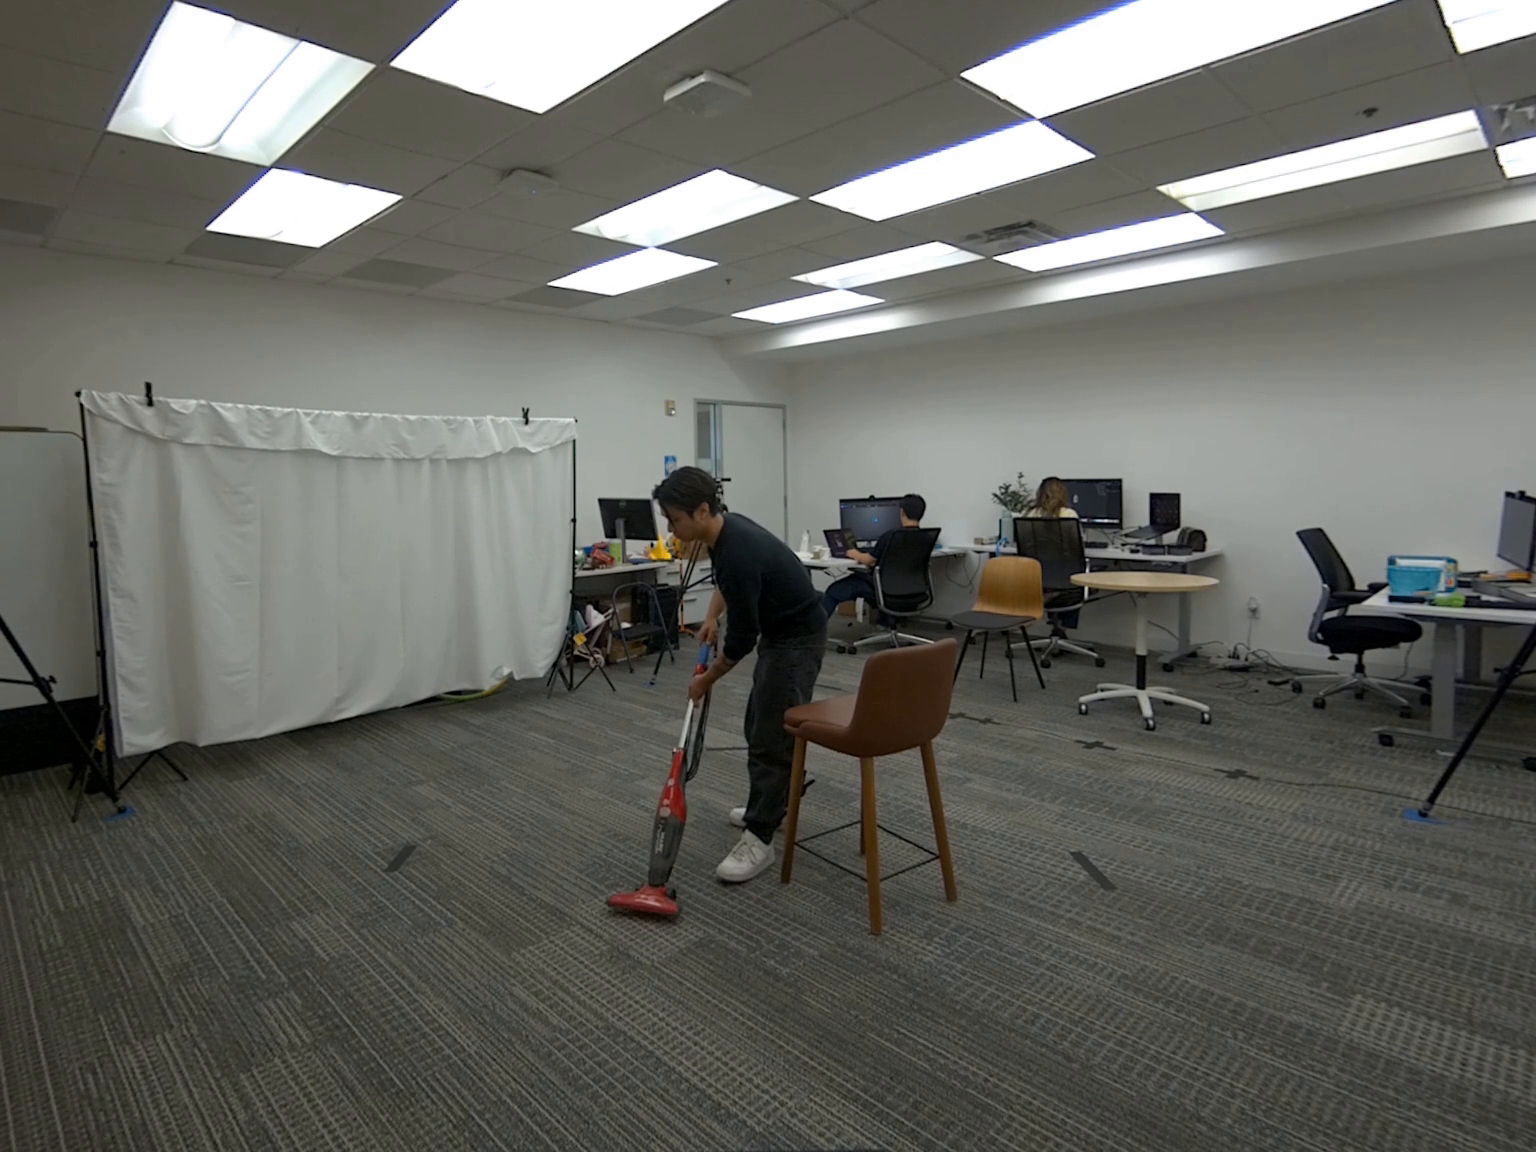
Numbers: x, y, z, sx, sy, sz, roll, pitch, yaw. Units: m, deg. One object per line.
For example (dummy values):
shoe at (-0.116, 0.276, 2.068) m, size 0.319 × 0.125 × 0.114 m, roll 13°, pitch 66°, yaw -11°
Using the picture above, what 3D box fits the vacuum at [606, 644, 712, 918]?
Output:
vacuum at (-0.295, 0.640, 3.077) m, size 0.257 × 1.069 × 0.138 m, roll -4°, pitch -38°, yaw 21°
